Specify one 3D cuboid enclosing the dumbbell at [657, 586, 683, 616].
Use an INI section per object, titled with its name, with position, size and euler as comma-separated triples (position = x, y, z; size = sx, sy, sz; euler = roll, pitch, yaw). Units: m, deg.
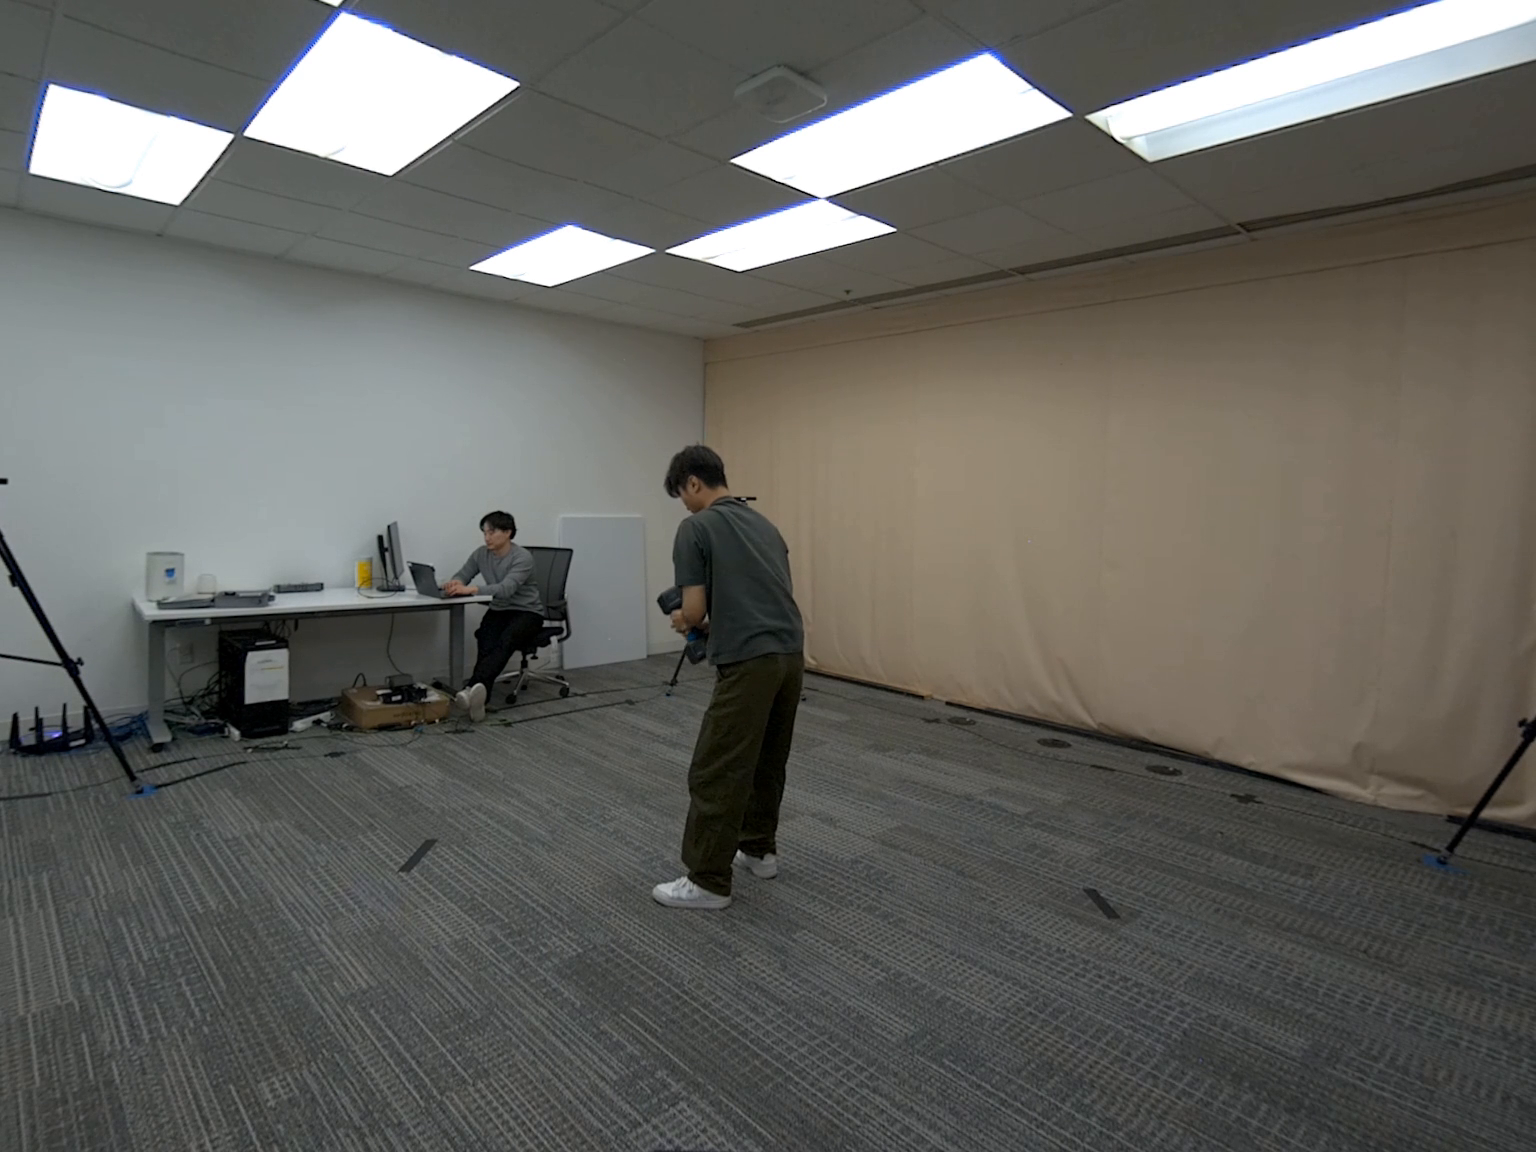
[dumbbell]
position = -0.302, 0.188, 3.127
size = 0.123, 0.297, 0.107
euler = -28, -13, -1
